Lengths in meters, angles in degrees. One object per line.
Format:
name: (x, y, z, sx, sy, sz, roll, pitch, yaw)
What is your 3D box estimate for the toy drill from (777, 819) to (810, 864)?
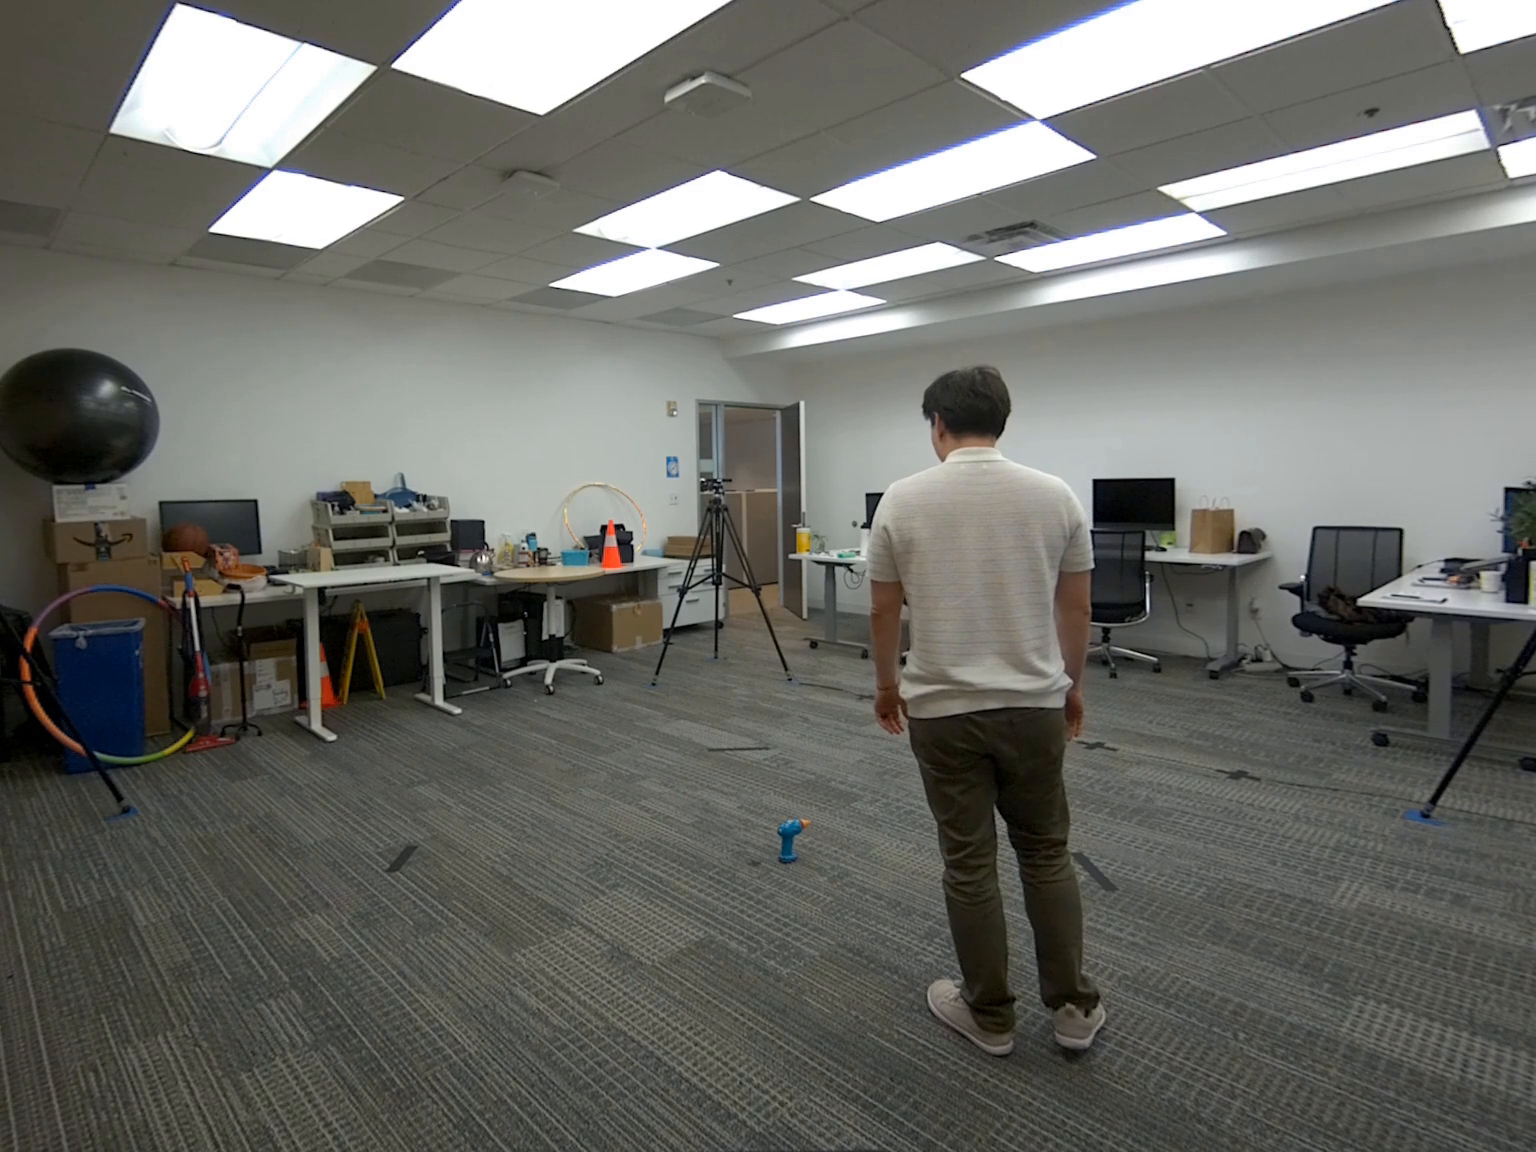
toy drill: (0.103, 0.968, 3.149, 0.165, 0.146, 0.063, -3, 4, -44)
